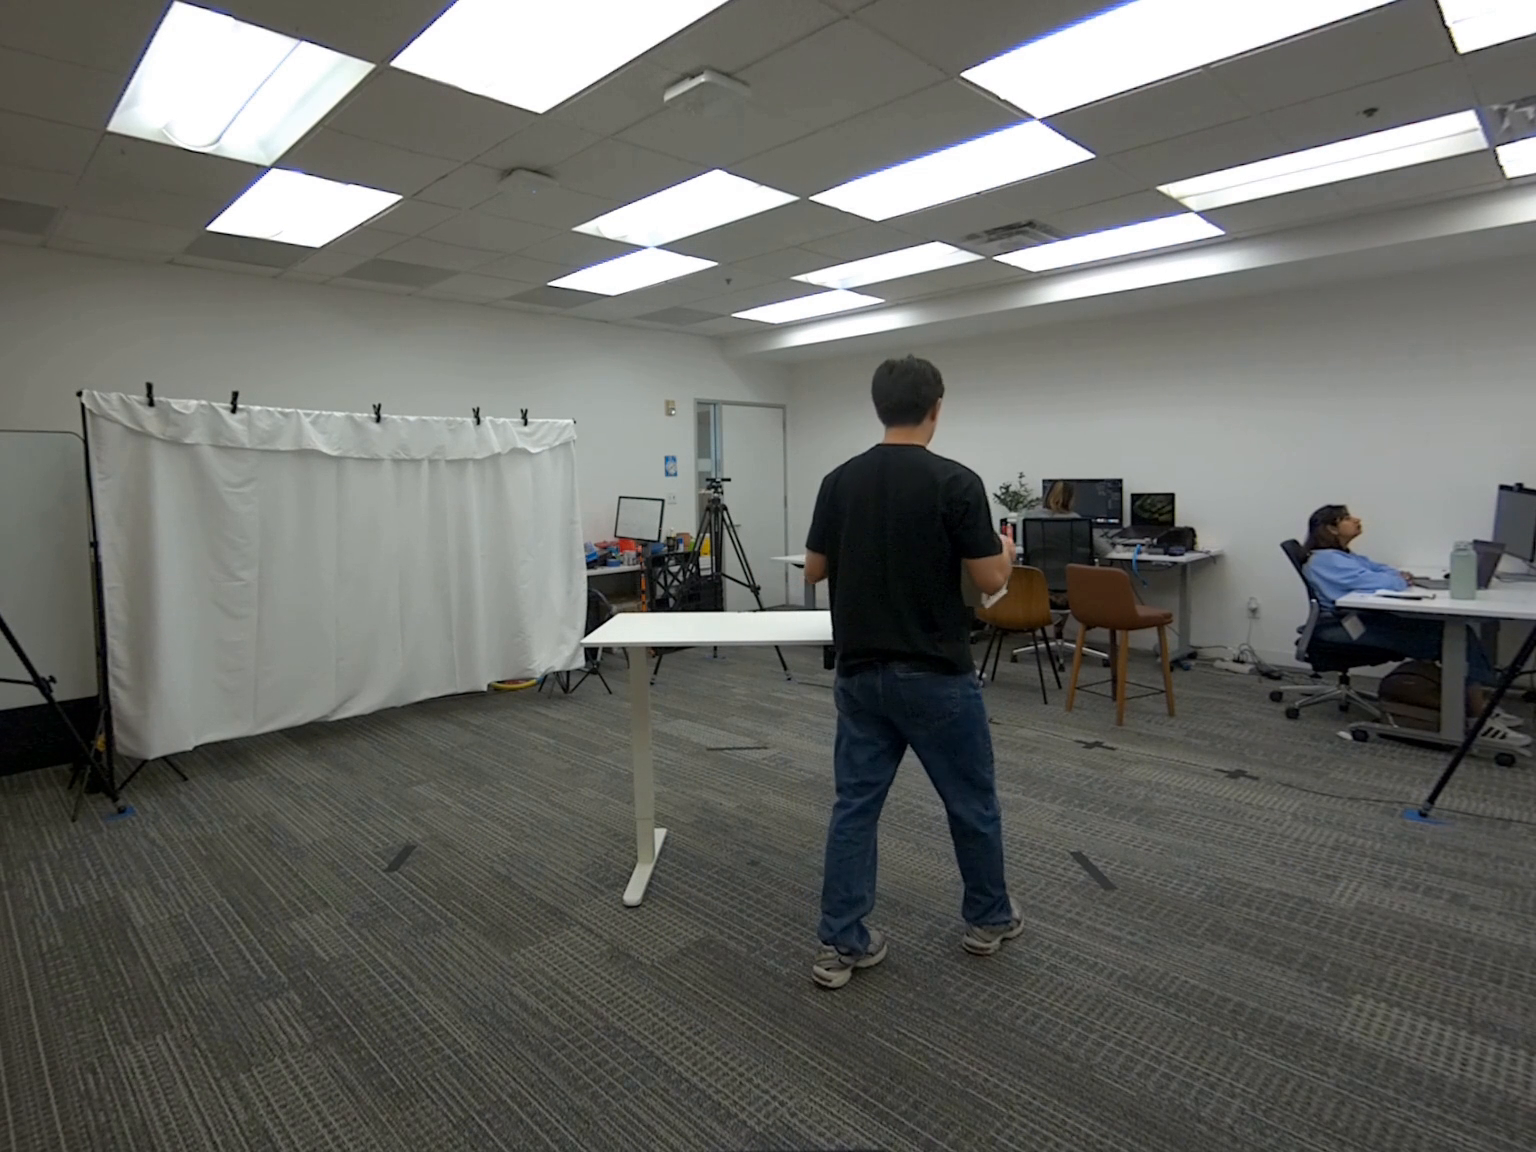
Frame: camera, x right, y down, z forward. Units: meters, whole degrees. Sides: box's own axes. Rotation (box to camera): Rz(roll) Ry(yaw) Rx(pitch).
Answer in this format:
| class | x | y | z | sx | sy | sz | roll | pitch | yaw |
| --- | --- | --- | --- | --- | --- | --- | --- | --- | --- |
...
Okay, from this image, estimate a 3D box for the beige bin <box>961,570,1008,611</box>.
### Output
| class | x | y | z | sx | sy | sz | roll | pitch | yaw |
| --- | --- | --- | --- | --- | --- | --- | --- | --- | --- |
| beige bin | 0.542 | -0.034 | 2.736 | 0.433 | 0.187 | 0.371 | 5 | 11 | 27 |
